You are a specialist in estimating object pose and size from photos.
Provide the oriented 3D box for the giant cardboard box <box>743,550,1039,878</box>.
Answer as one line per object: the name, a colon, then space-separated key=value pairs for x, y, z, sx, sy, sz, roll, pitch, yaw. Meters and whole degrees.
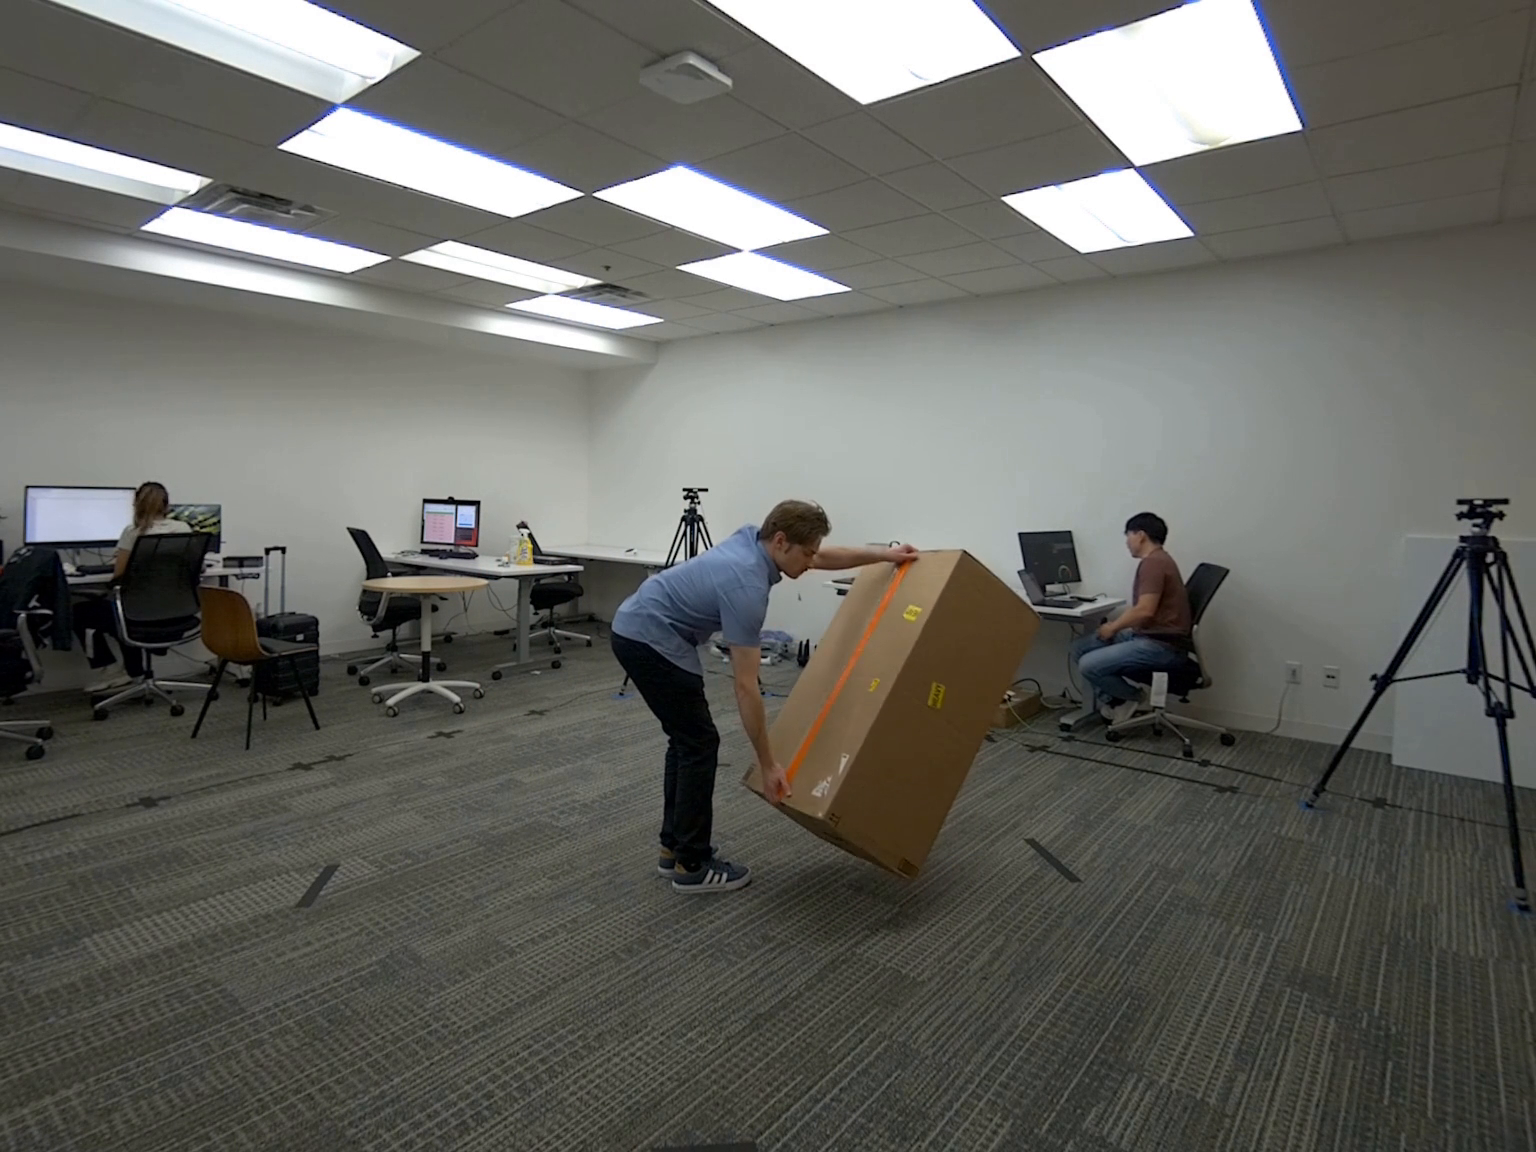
giant cardboard box: x=0.422 y=0.457 z=3.055 sx=0.435 sy=1.031 sz=0.597 roll=37 pitch=-18 yaw=-20
